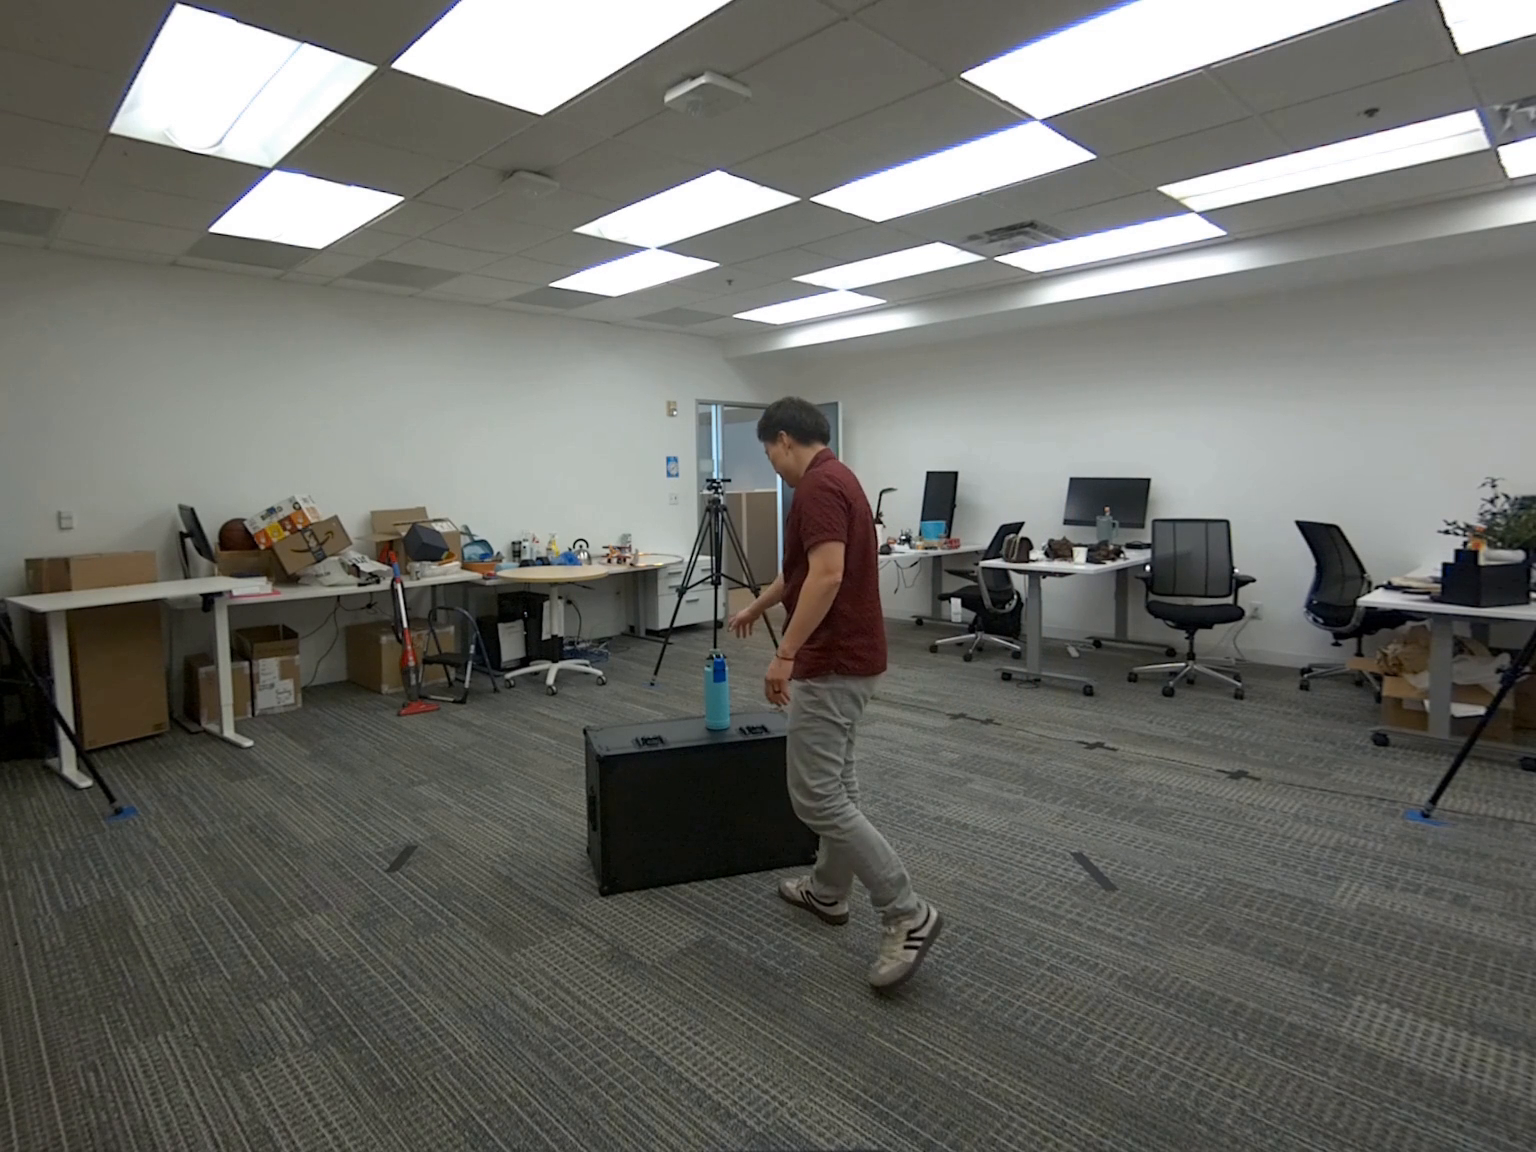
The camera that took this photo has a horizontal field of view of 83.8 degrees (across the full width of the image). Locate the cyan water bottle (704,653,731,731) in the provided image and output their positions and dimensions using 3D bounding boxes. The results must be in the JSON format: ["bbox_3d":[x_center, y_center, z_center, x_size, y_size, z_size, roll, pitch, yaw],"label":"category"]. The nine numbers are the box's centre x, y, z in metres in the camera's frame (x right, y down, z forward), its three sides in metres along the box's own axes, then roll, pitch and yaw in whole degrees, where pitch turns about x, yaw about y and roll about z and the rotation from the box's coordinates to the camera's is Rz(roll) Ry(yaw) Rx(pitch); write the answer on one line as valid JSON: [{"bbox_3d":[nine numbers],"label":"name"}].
[{"bbox_3d":[-0.186,0.415,3.159,0.092,0.282,0.093,0,5,-2],"label":"cyan water bottle"}]
